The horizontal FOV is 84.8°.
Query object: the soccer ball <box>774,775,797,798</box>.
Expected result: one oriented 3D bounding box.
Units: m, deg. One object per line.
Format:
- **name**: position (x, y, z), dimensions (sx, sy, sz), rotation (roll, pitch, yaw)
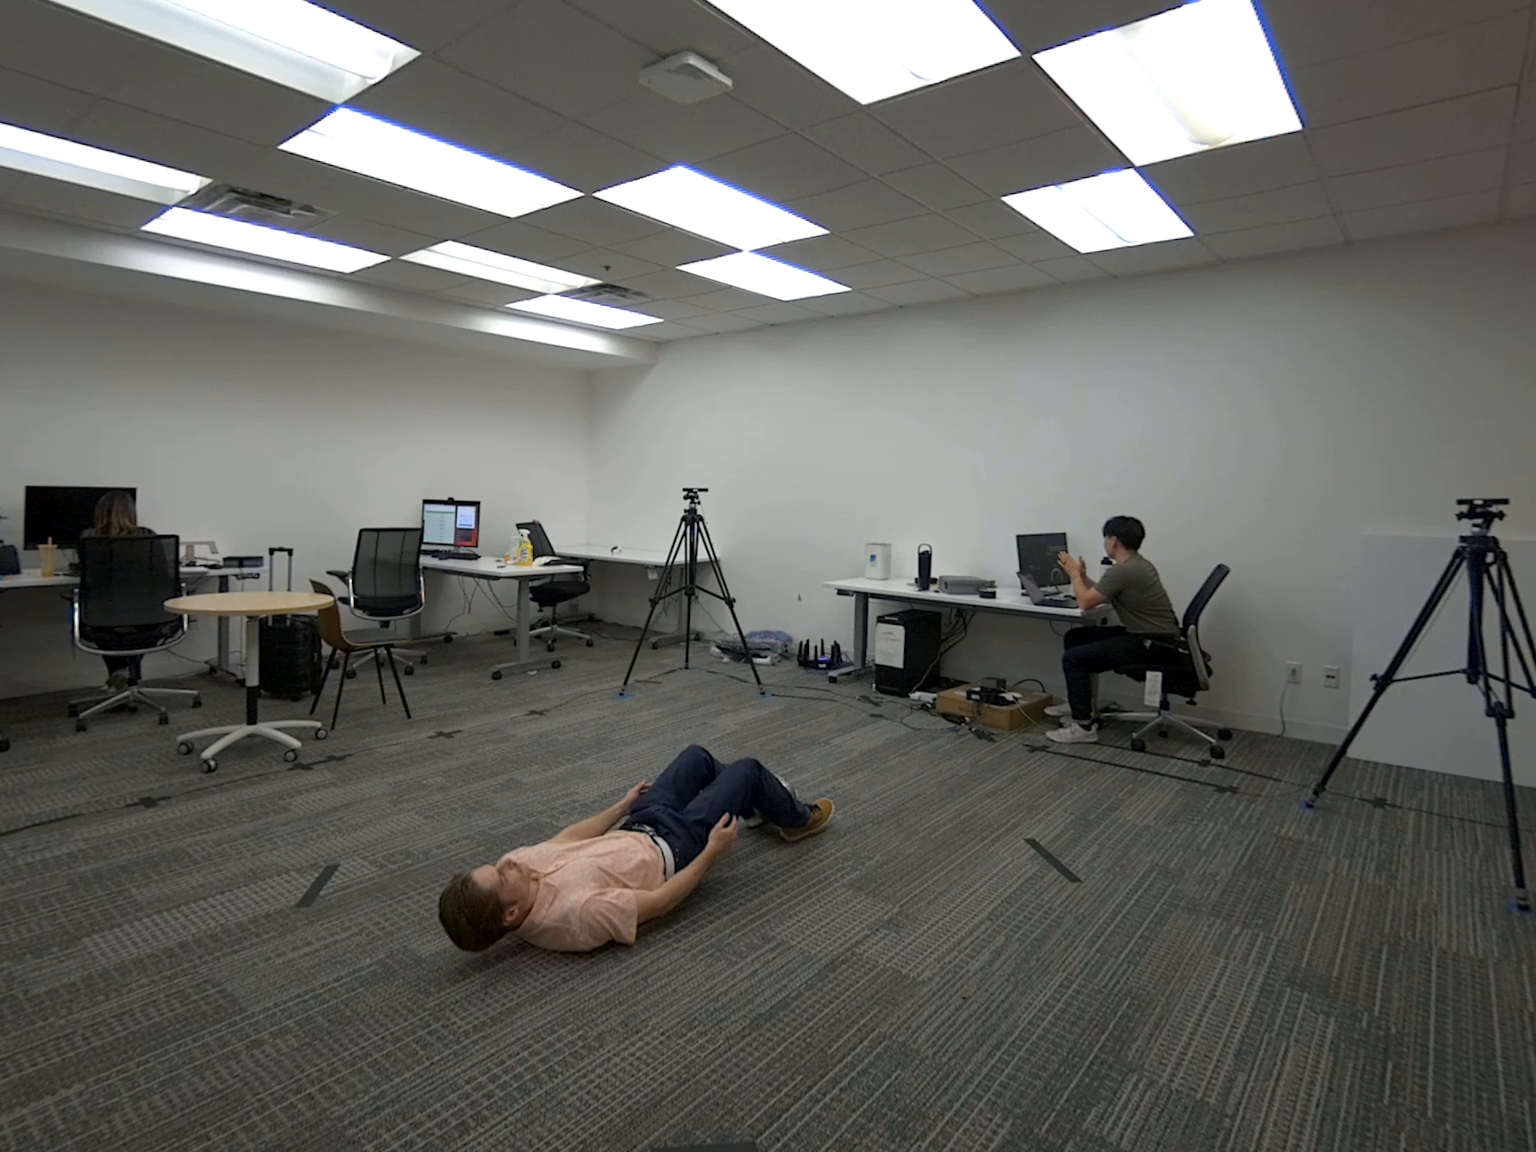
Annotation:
- **soccer ball**: position (0.019, 0.903, 3.443), dimensions (0.187, 0.187, 0.188), rotation (1, 4, -2)
